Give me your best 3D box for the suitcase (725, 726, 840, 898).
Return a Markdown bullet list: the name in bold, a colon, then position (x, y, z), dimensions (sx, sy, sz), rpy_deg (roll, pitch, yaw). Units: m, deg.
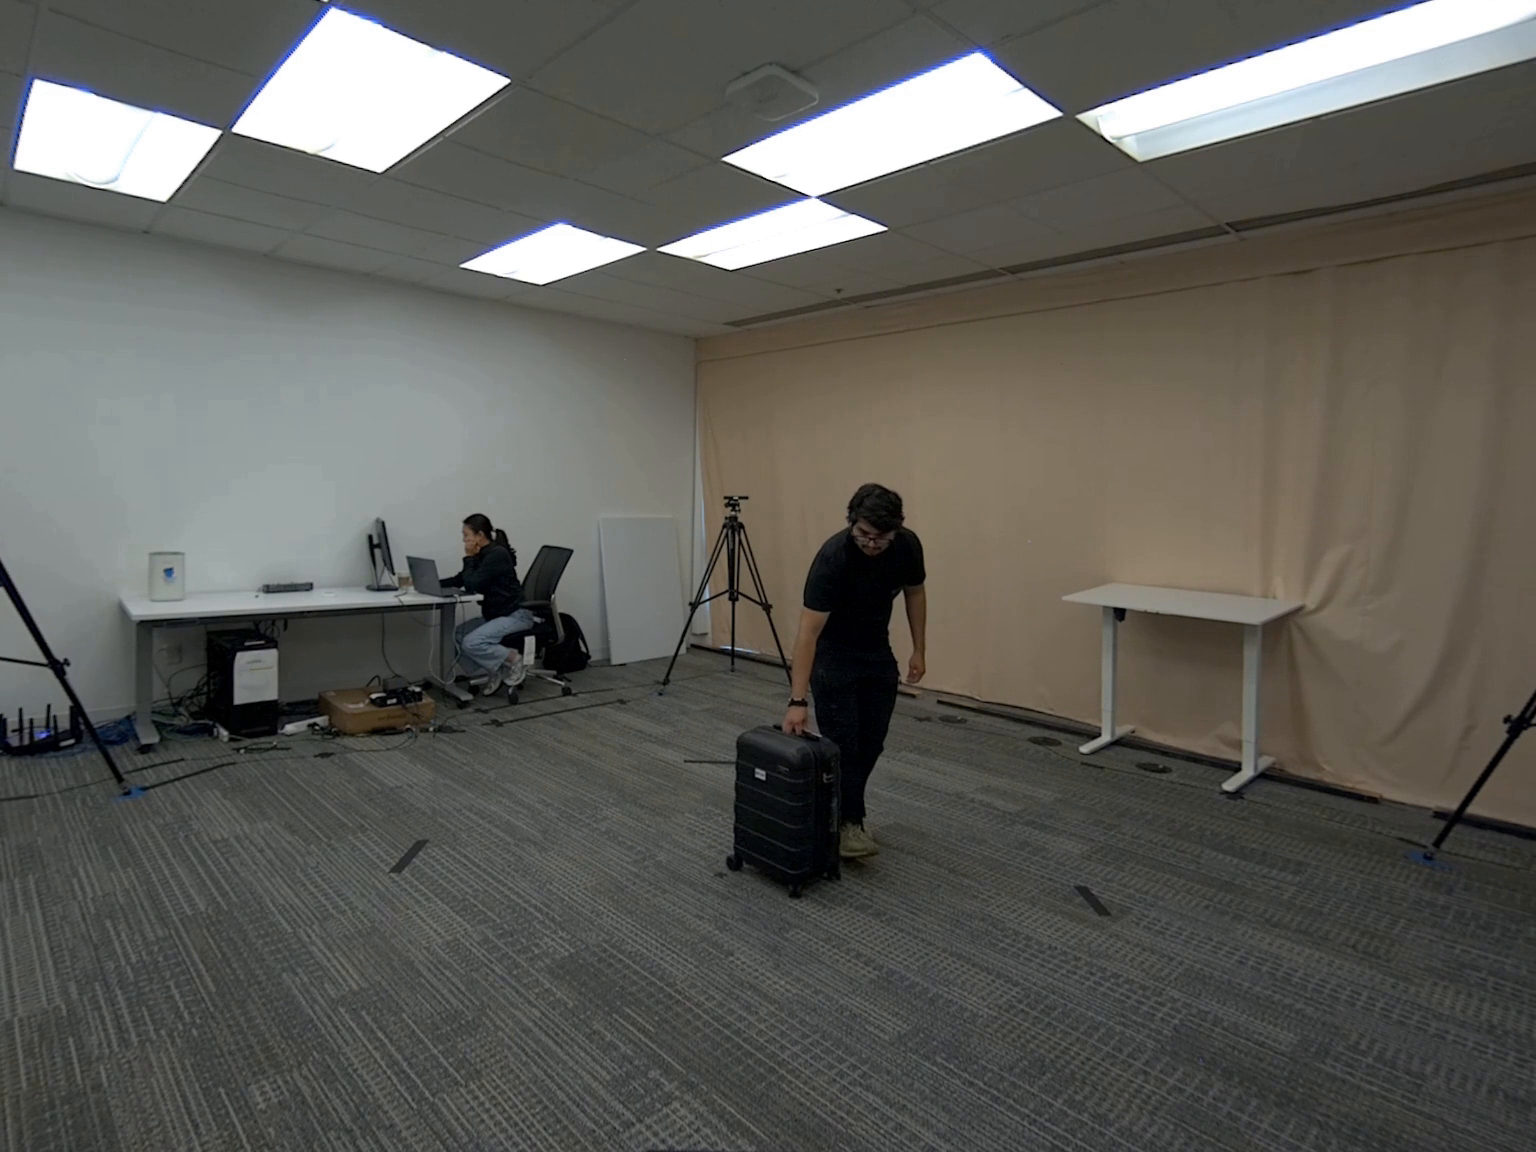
- **suitcase**: position (0.057, 0.842, 3.079), dimensions (0.243, 0.547, 0.385), rpy_deg (-5, 7, -44)
